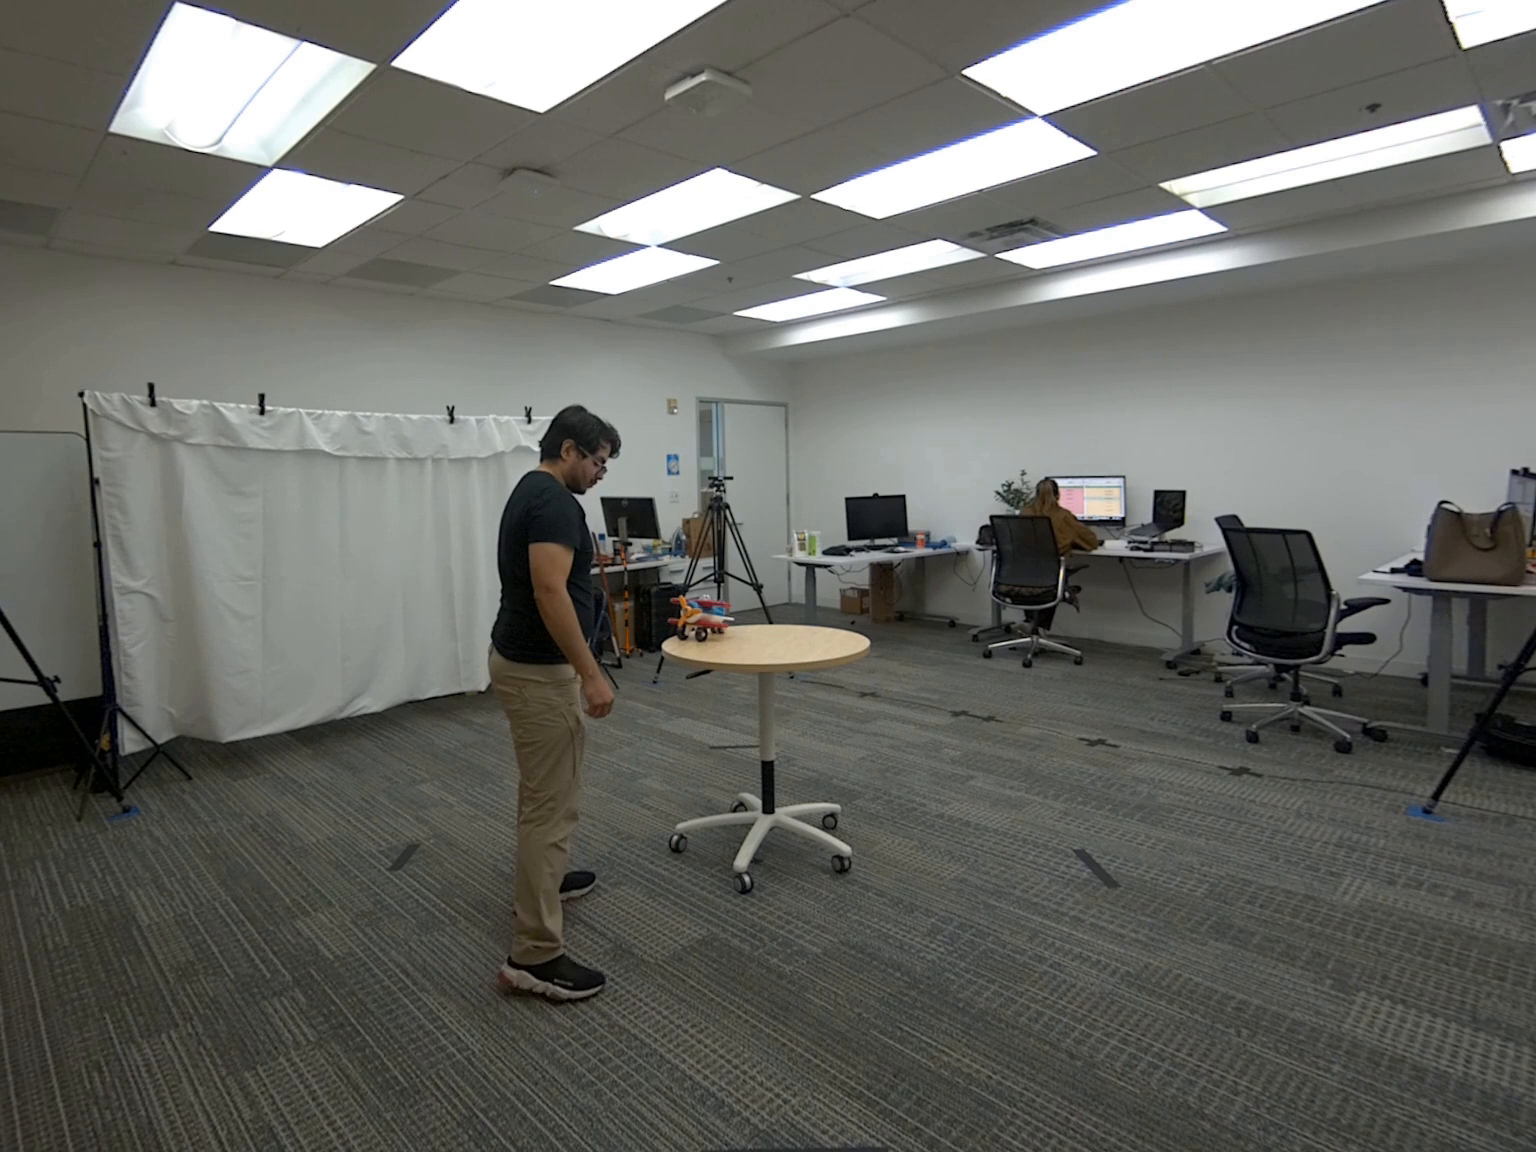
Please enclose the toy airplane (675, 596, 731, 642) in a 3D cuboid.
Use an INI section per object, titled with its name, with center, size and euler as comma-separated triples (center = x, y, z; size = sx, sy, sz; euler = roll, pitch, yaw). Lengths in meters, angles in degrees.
[toy airplane]
center = -0.263, 0.159, 3.301
size = 0.252, 0.155, 0.260
euler = -1, 6, 3
